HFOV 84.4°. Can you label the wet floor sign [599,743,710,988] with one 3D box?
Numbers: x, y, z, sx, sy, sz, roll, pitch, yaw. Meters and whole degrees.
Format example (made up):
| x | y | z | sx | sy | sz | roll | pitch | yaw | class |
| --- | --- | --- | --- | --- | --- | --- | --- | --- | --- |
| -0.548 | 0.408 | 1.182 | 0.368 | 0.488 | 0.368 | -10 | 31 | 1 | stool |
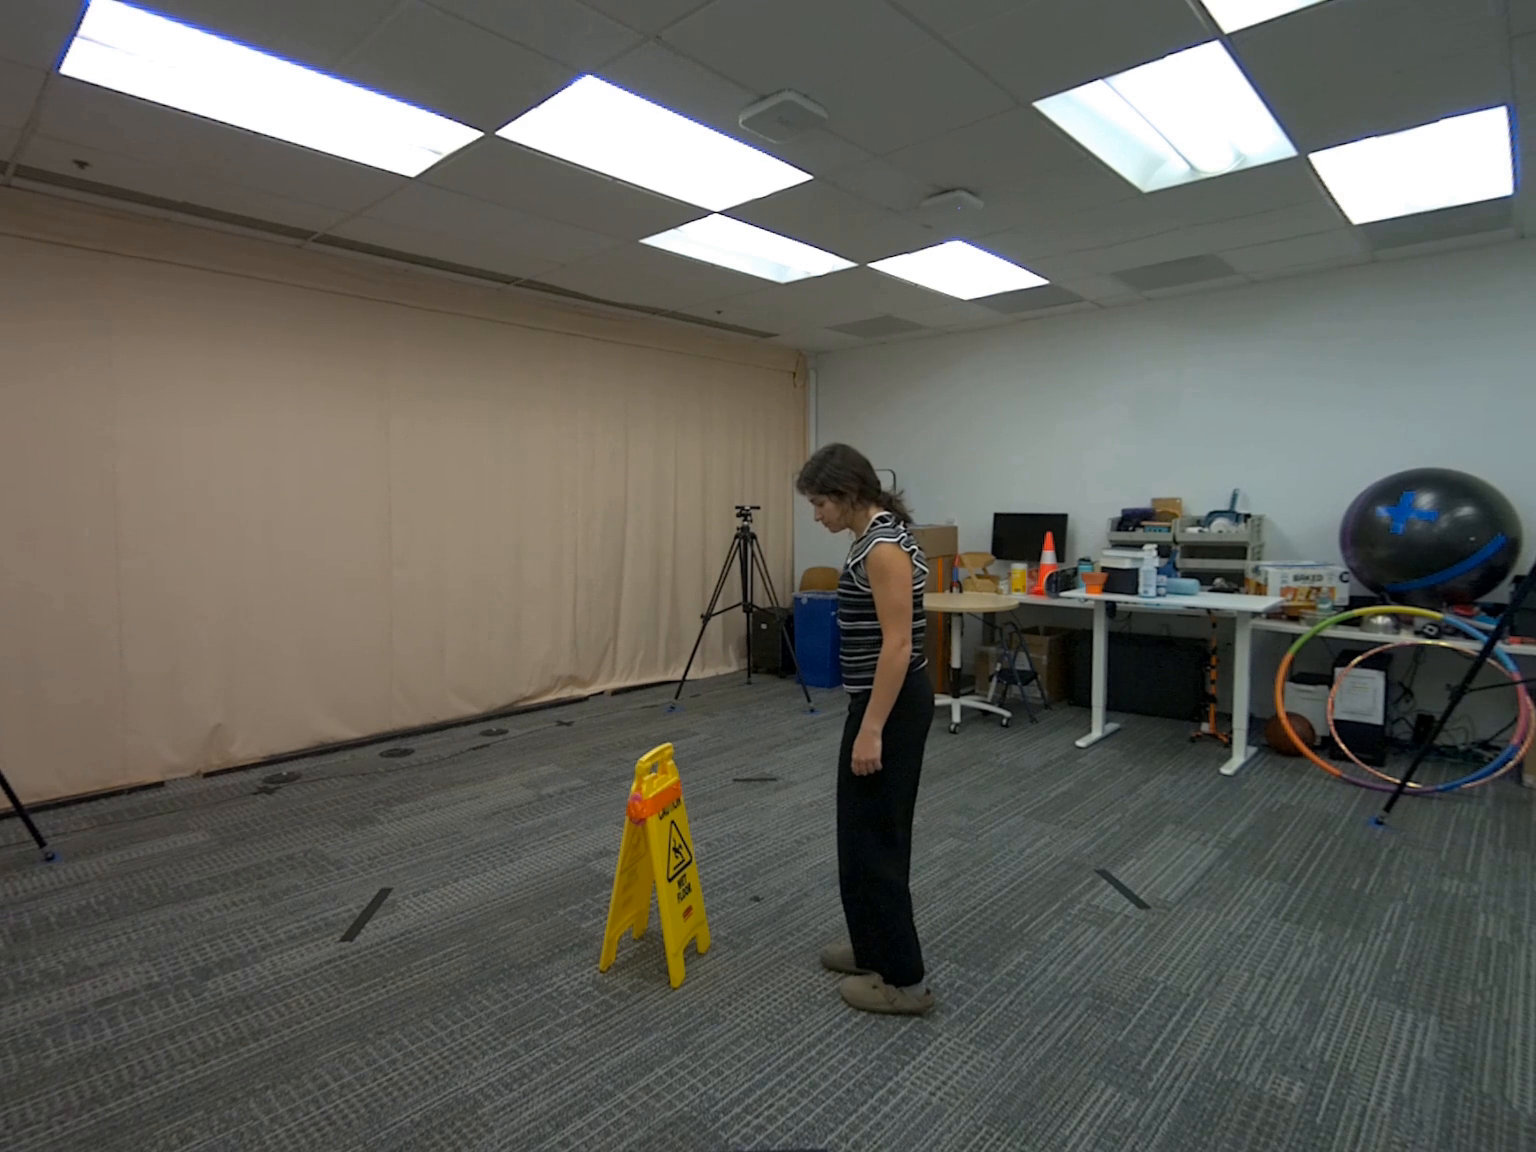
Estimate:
| x | y | z | sx | sy | sz | roll | pitch | yaw | class |
| --- | --- | --- | --- | --- | --- | --- | --- | --- | --- |
| -0.347 | 0.858 | 2.580 | 0.296 | 0.645 | 0.276 | 0 | 2 | 21 | wet floor sign |
